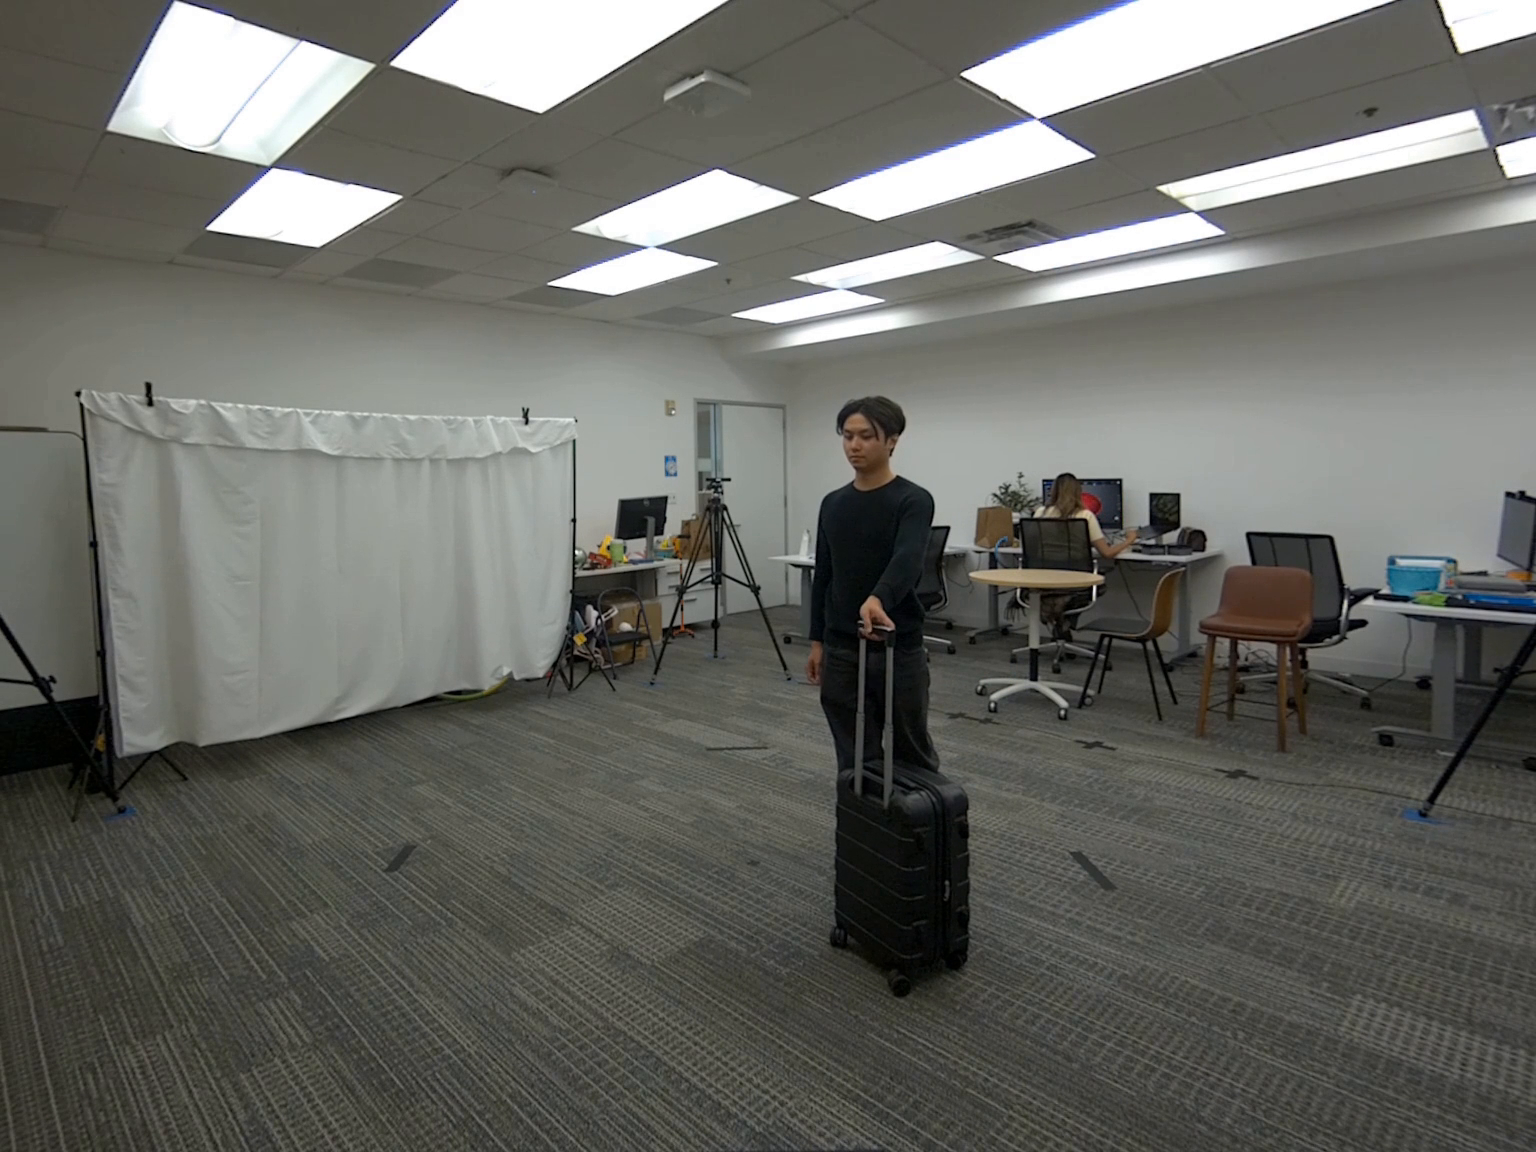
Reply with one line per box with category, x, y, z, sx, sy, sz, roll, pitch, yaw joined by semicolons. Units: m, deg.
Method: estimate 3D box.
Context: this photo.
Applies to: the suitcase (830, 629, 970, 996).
suitcase;0.390;0.634;2.467;0.251;0.976;0.394;1;3;-29
